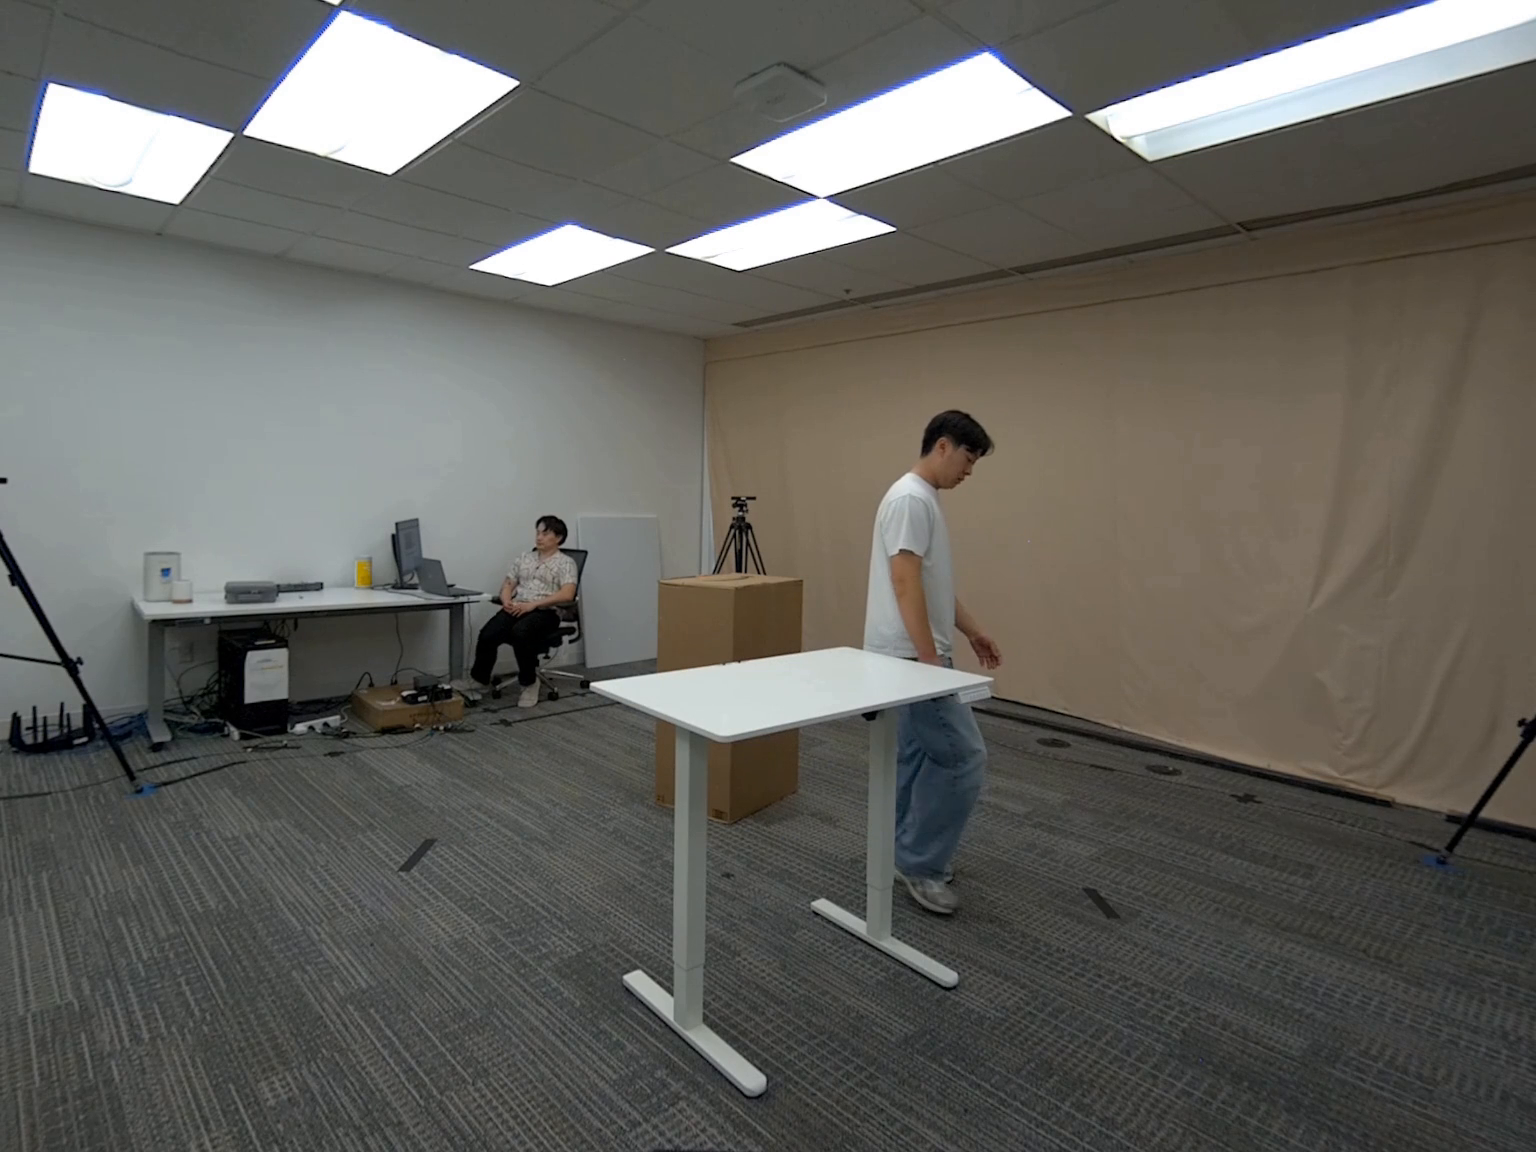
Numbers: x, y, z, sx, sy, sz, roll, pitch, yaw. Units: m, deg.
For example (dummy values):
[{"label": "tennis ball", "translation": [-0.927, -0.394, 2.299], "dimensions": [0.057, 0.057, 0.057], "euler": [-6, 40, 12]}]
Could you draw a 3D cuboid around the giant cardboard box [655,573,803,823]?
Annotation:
[{"label": "giant cardboard box", "translation": [-0.182, 0.525, 3.912], "dimensions": [0.436, 1.023, 0.565], "euler": [4, 4, 35]}]
